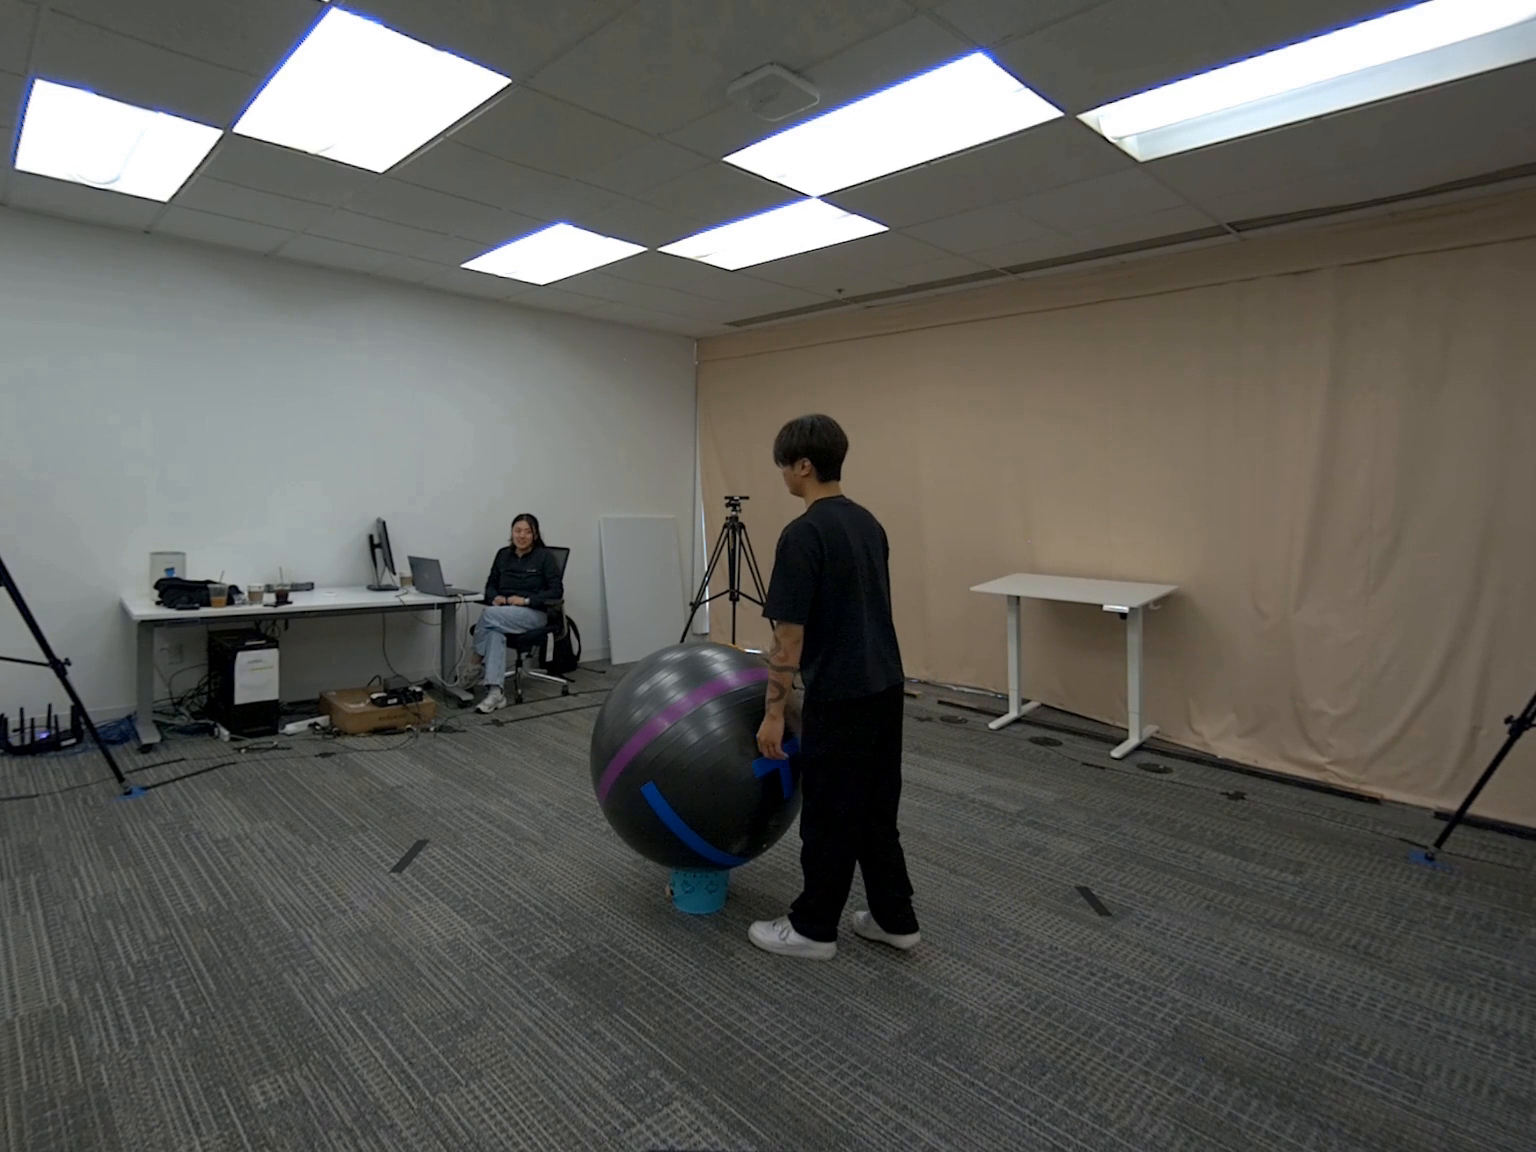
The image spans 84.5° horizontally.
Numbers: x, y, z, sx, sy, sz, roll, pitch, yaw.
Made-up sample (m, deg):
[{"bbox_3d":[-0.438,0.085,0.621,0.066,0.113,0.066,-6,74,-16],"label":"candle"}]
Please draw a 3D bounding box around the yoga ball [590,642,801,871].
[{"bbox_3d":[-0.233,0.611,2.873,0.757,0.756,0.761,1,4,-1],"label":"yoga ball"}]
